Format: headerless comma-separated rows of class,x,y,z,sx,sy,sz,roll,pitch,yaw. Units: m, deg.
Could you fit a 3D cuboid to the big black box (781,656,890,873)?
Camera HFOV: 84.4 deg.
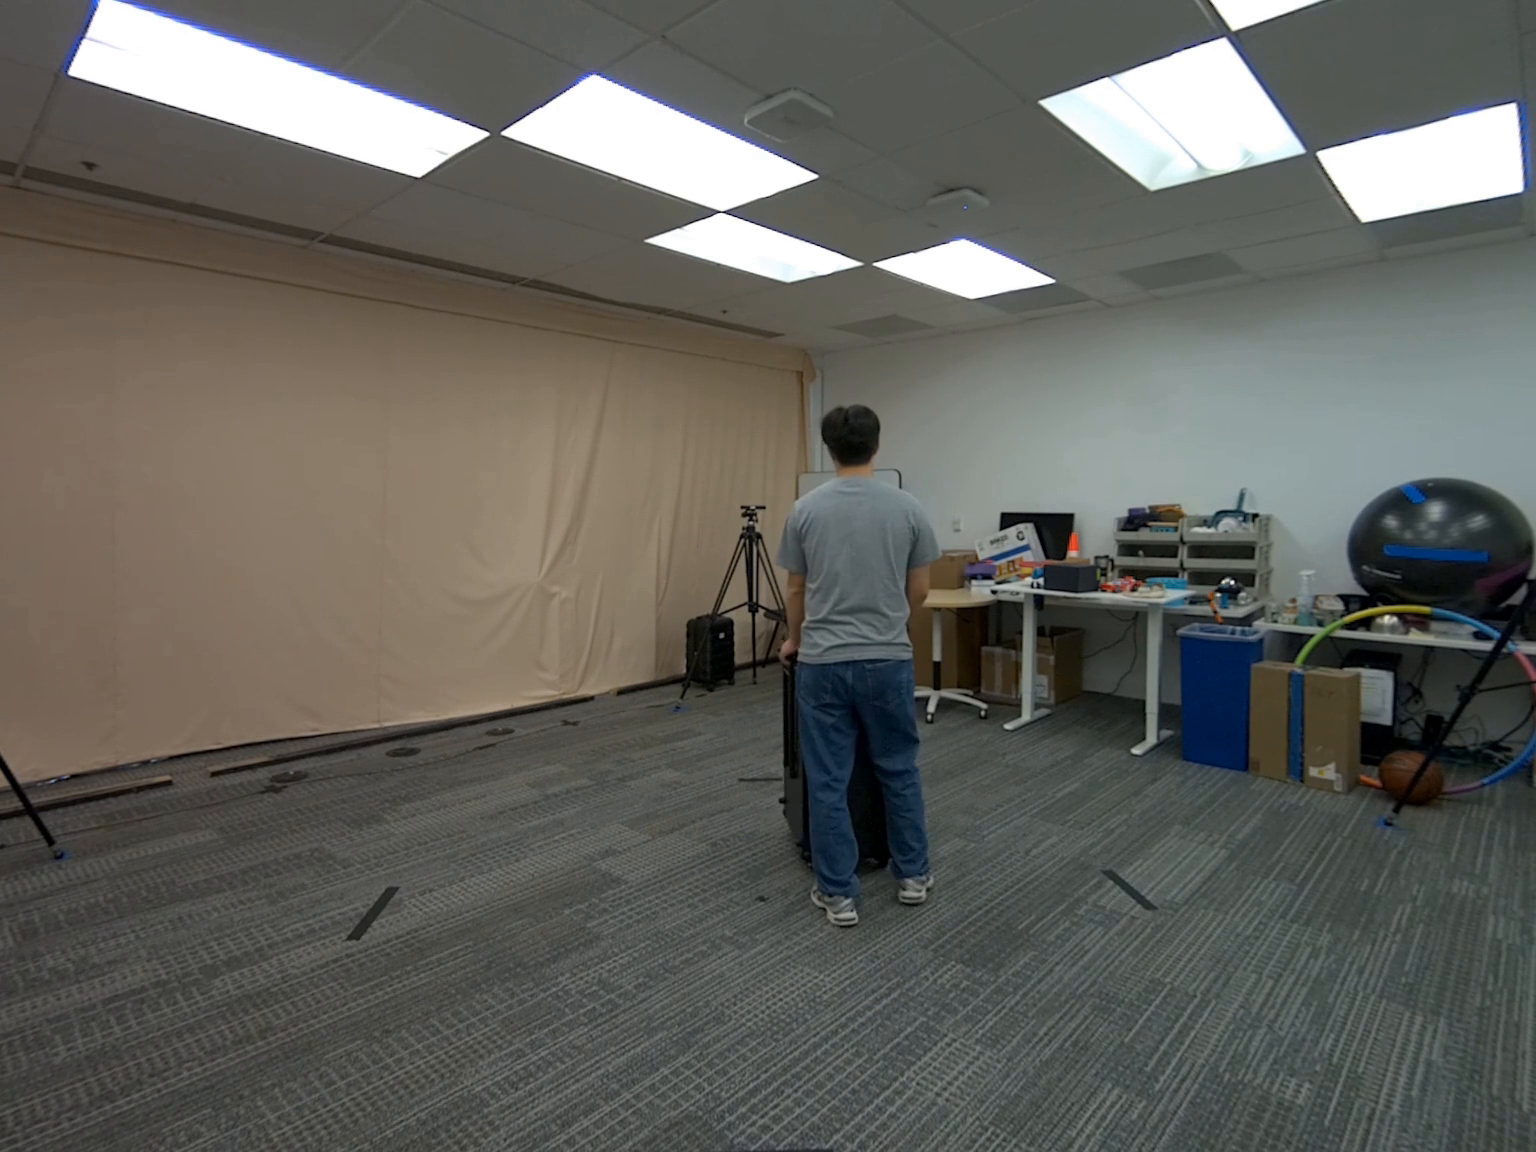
big black box,0.268,0.695,3.364,0.394,0.860,0.525,-1,3,-6
